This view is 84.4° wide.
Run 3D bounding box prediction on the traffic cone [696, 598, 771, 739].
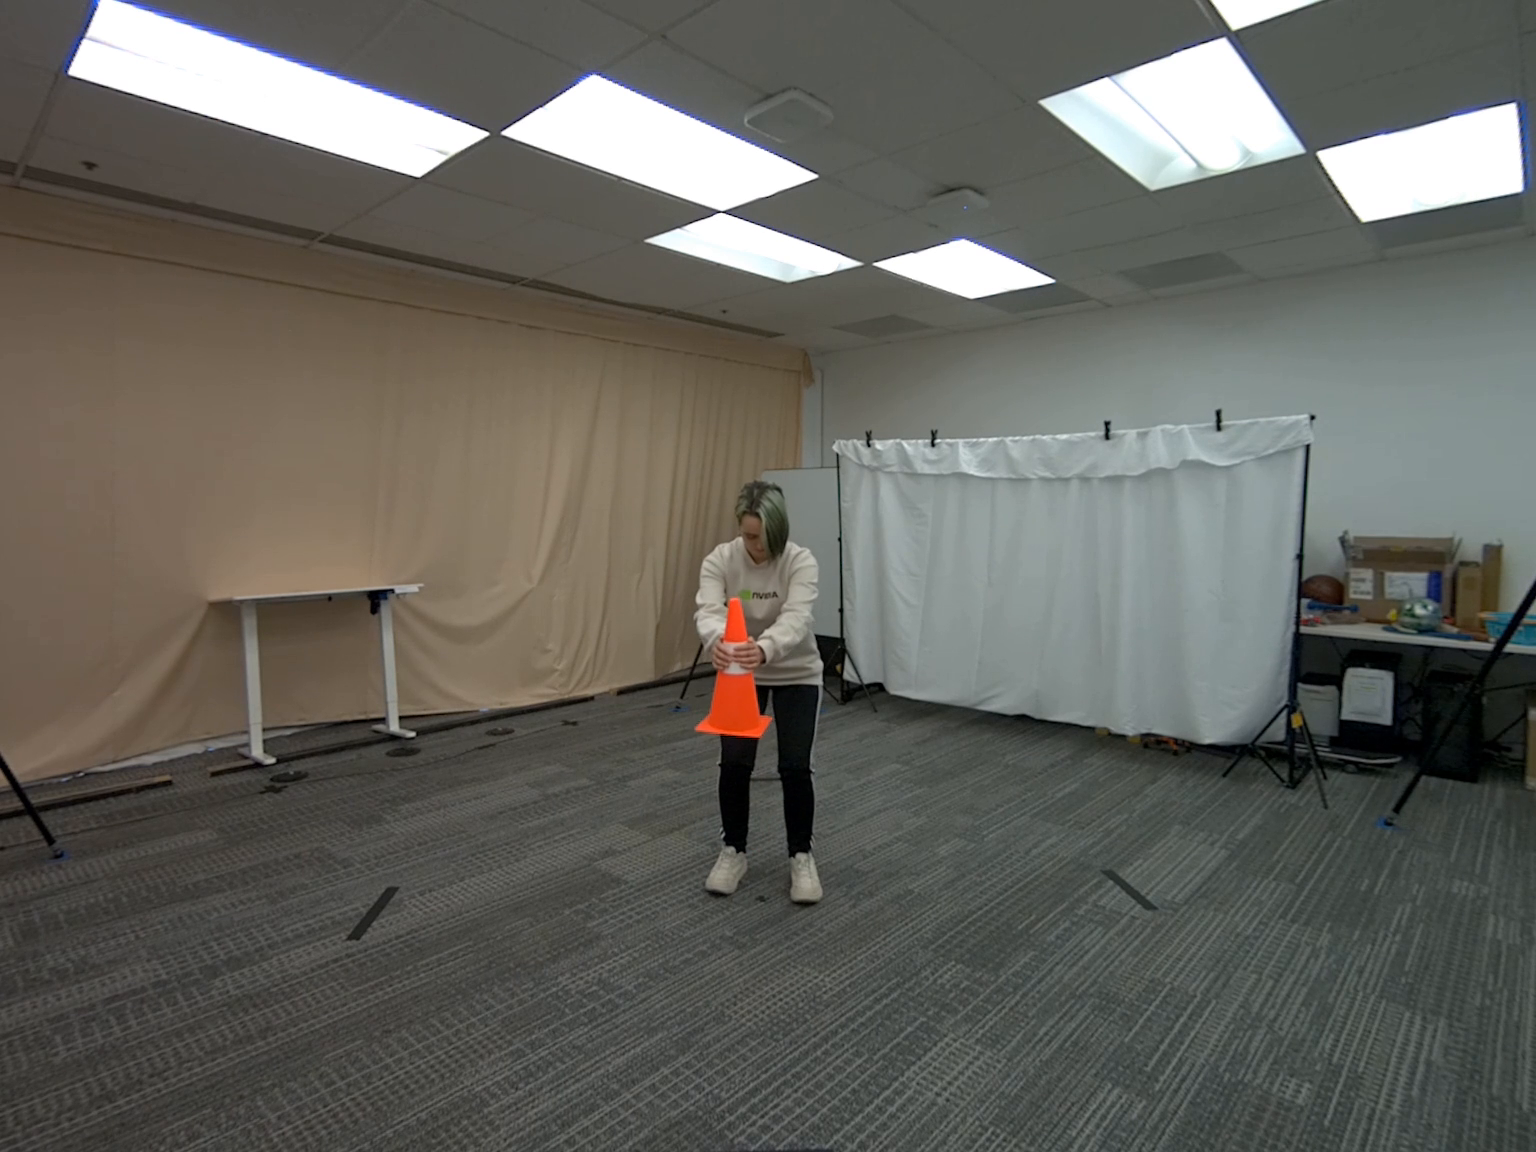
[{"bbox_3d":[-0.098,0.266,2.508,0.208,0.382,0.201,1,8,15],"label":"traffic cone"}]
